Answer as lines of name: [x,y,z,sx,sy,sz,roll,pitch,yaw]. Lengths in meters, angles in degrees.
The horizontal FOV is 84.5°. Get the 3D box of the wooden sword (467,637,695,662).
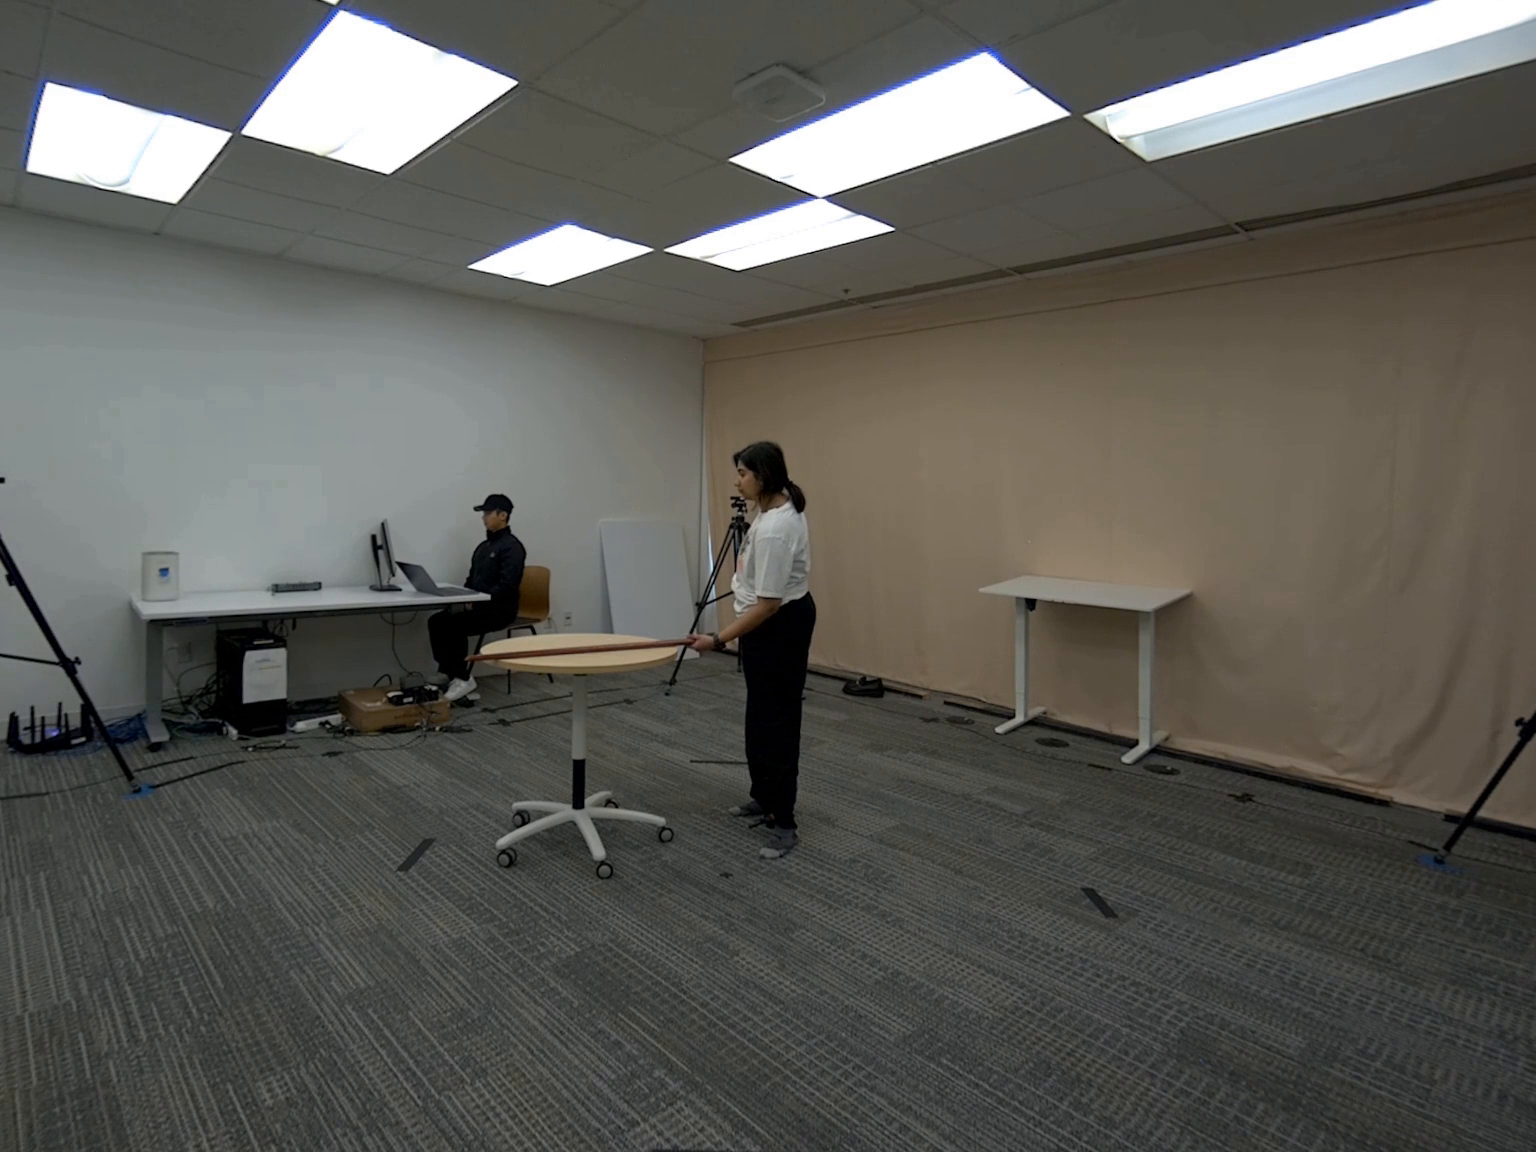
wooden sword: [-0.625,0.285,3.232,1.004,0.024,0.053,-1,20,-31]
